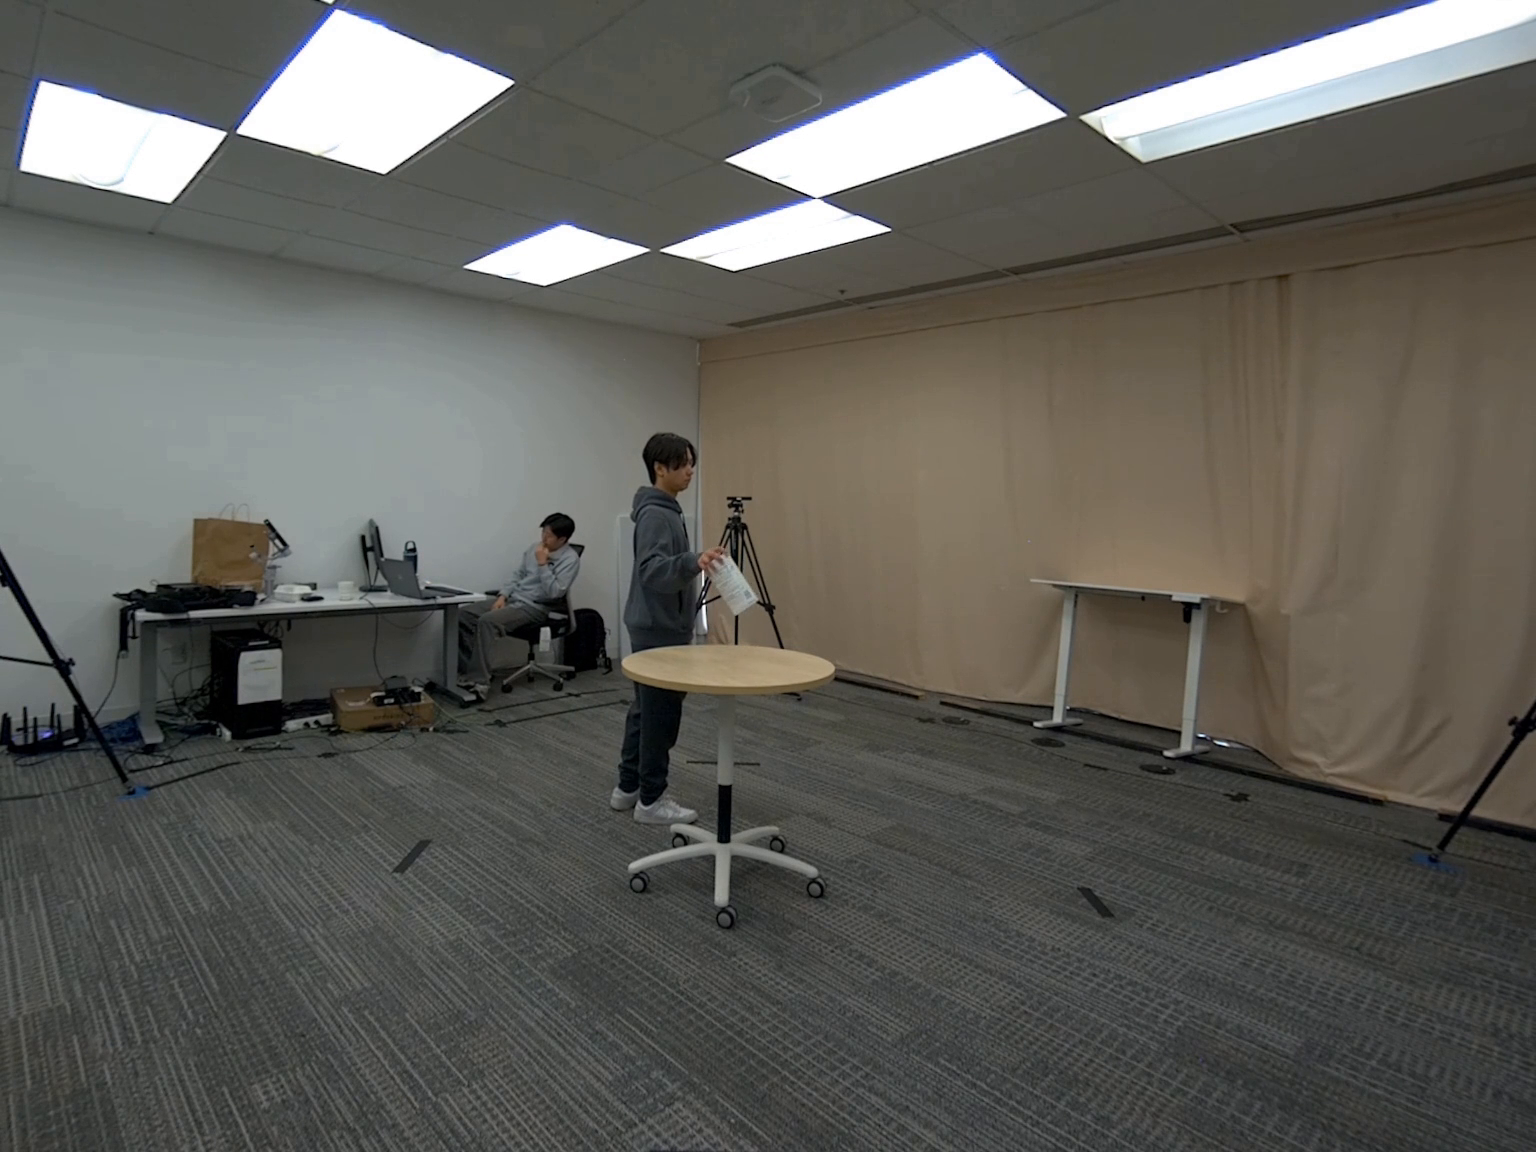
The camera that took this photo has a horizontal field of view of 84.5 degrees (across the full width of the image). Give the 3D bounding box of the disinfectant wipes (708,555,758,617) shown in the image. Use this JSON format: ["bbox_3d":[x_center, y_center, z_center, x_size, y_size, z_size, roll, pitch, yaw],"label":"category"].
[{"bbox_3d":[-0.137,0.033,3.076,0.118,0.218,0.117,-32,-2,-2],"label":"disinfectant wipes"}]
